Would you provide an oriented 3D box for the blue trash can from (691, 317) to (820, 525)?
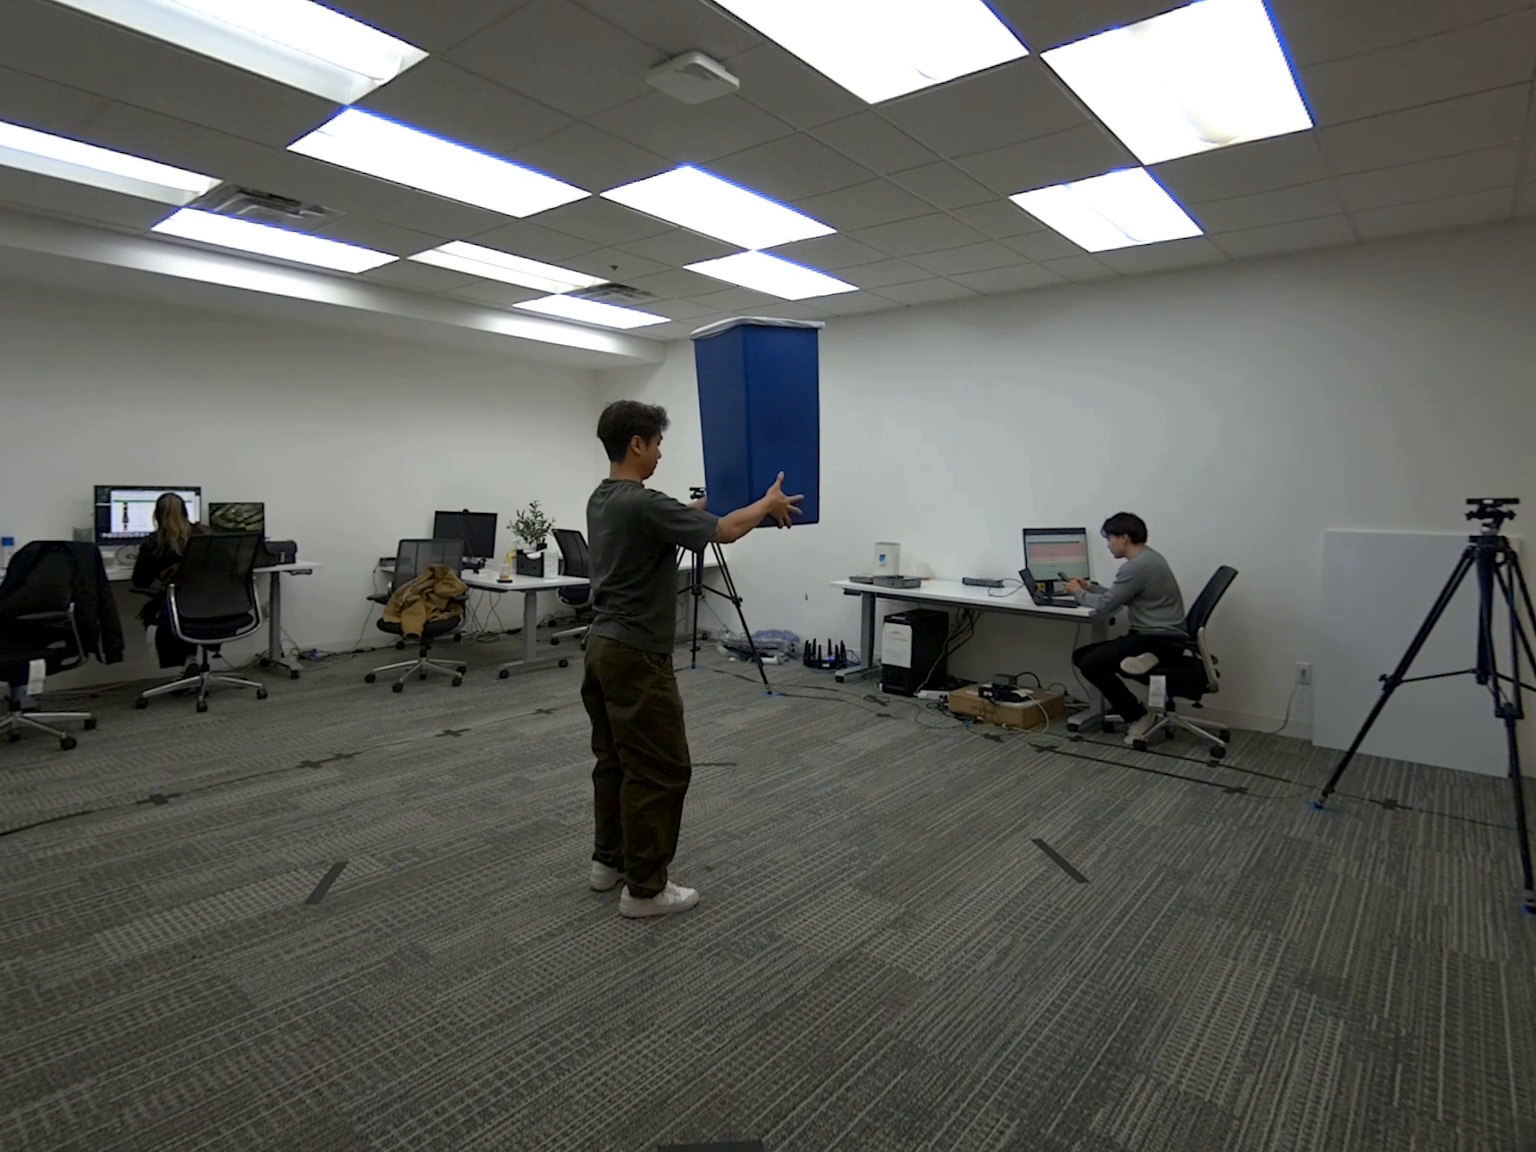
[{"bbox_3d":[-0.048,-0.551,3.099,0.368,0.711,0.386,-6,5,-35],"label":"blue trash can"}]
